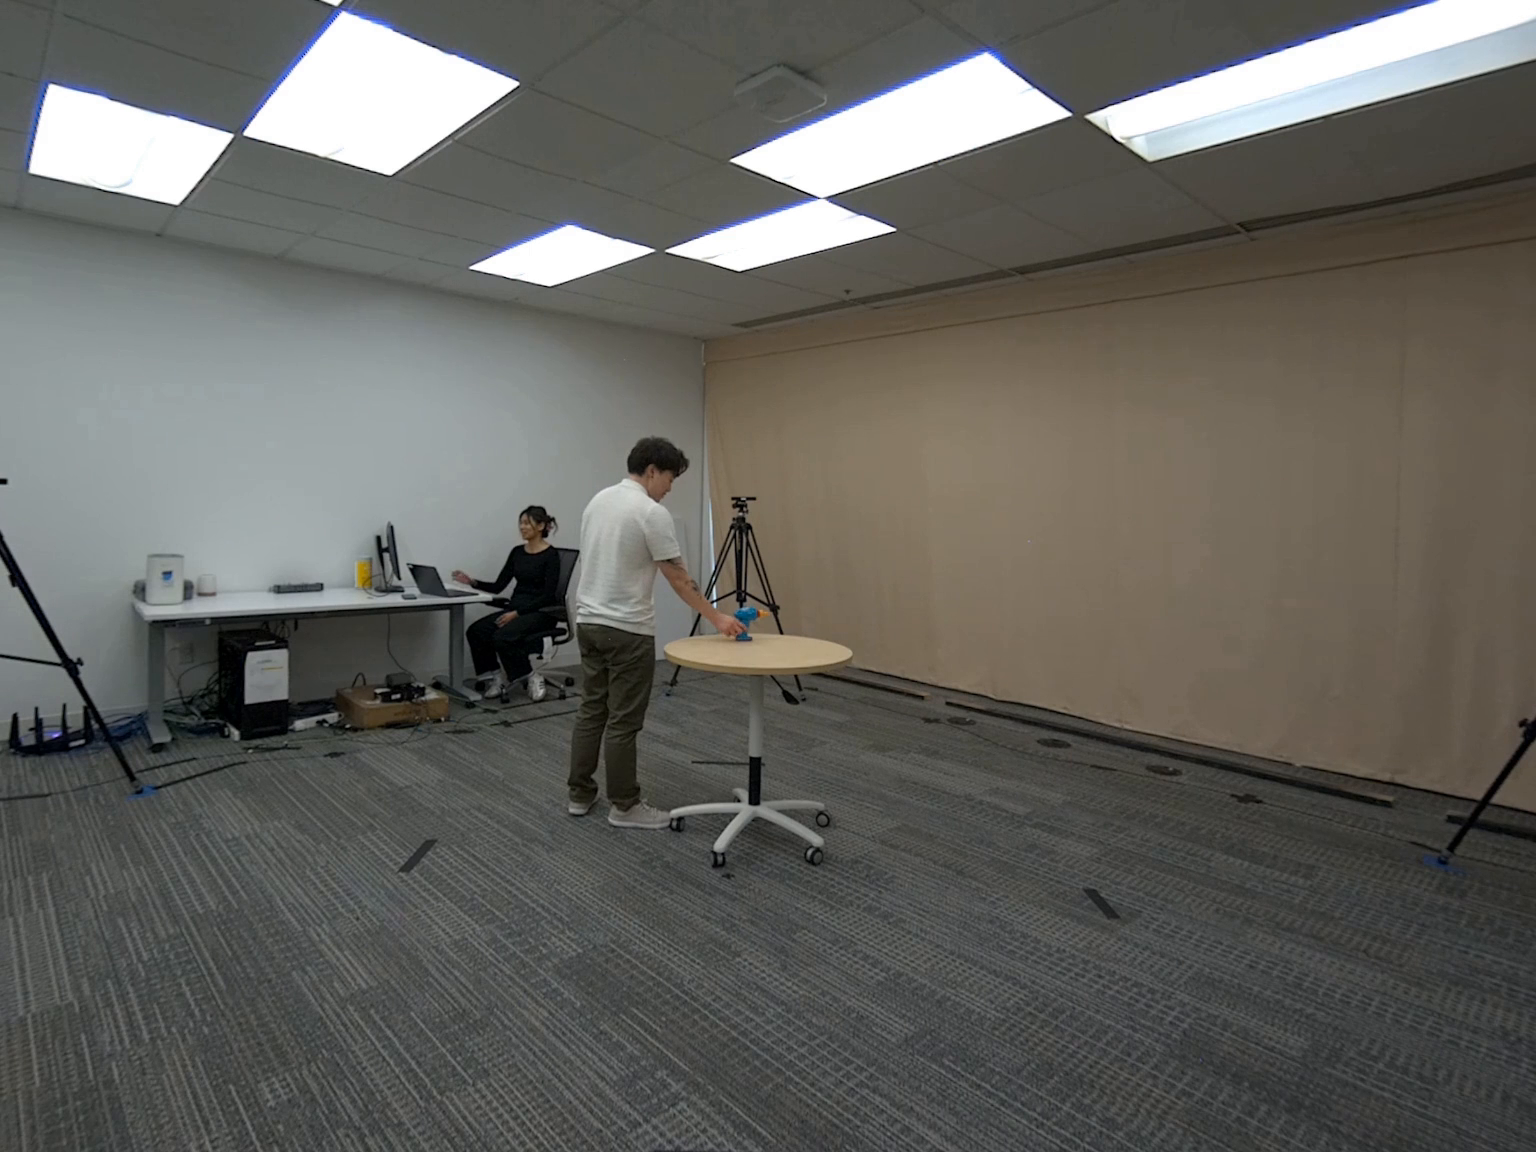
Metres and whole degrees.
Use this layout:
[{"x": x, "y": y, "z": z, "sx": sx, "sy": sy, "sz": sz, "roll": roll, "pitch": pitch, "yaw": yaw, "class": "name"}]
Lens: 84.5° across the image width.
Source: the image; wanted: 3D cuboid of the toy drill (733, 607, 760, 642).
[{"x": -0.085, "y": 0.204, "z": 3.638, "sx": 0.167, "sy": 0.145, "sz": 0.062, "roll": -2, "pitch": 4, "yaw": -25, "class": "toy drill"}]
